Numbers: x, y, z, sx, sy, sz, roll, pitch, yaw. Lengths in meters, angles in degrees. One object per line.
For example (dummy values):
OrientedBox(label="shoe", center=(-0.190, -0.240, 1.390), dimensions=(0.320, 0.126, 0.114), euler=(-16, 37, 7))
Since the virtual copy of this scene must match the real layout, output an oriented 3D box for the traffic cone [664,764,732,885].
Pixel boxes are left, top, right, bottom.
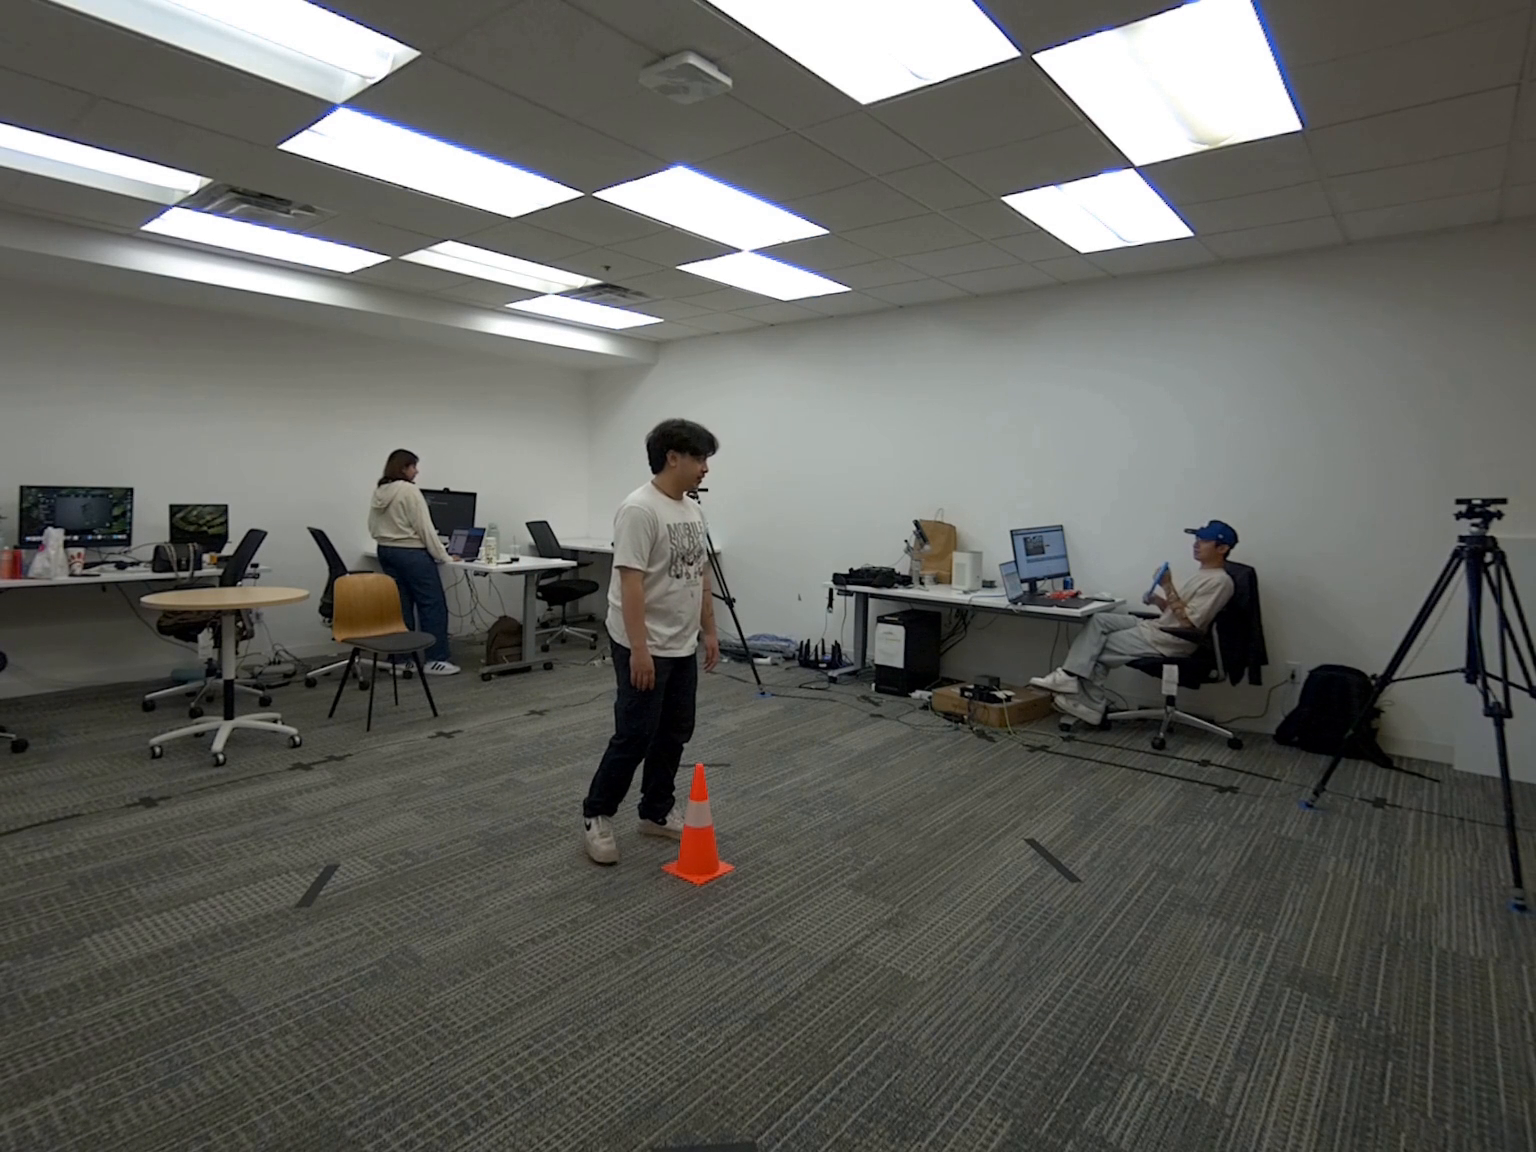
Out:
OrientedBox(label="traffic cone", center=(-0.261, 0.883, 3.115), dimensions=(0.210, 0.383, 0.199), euler=(3, 1, 33))
